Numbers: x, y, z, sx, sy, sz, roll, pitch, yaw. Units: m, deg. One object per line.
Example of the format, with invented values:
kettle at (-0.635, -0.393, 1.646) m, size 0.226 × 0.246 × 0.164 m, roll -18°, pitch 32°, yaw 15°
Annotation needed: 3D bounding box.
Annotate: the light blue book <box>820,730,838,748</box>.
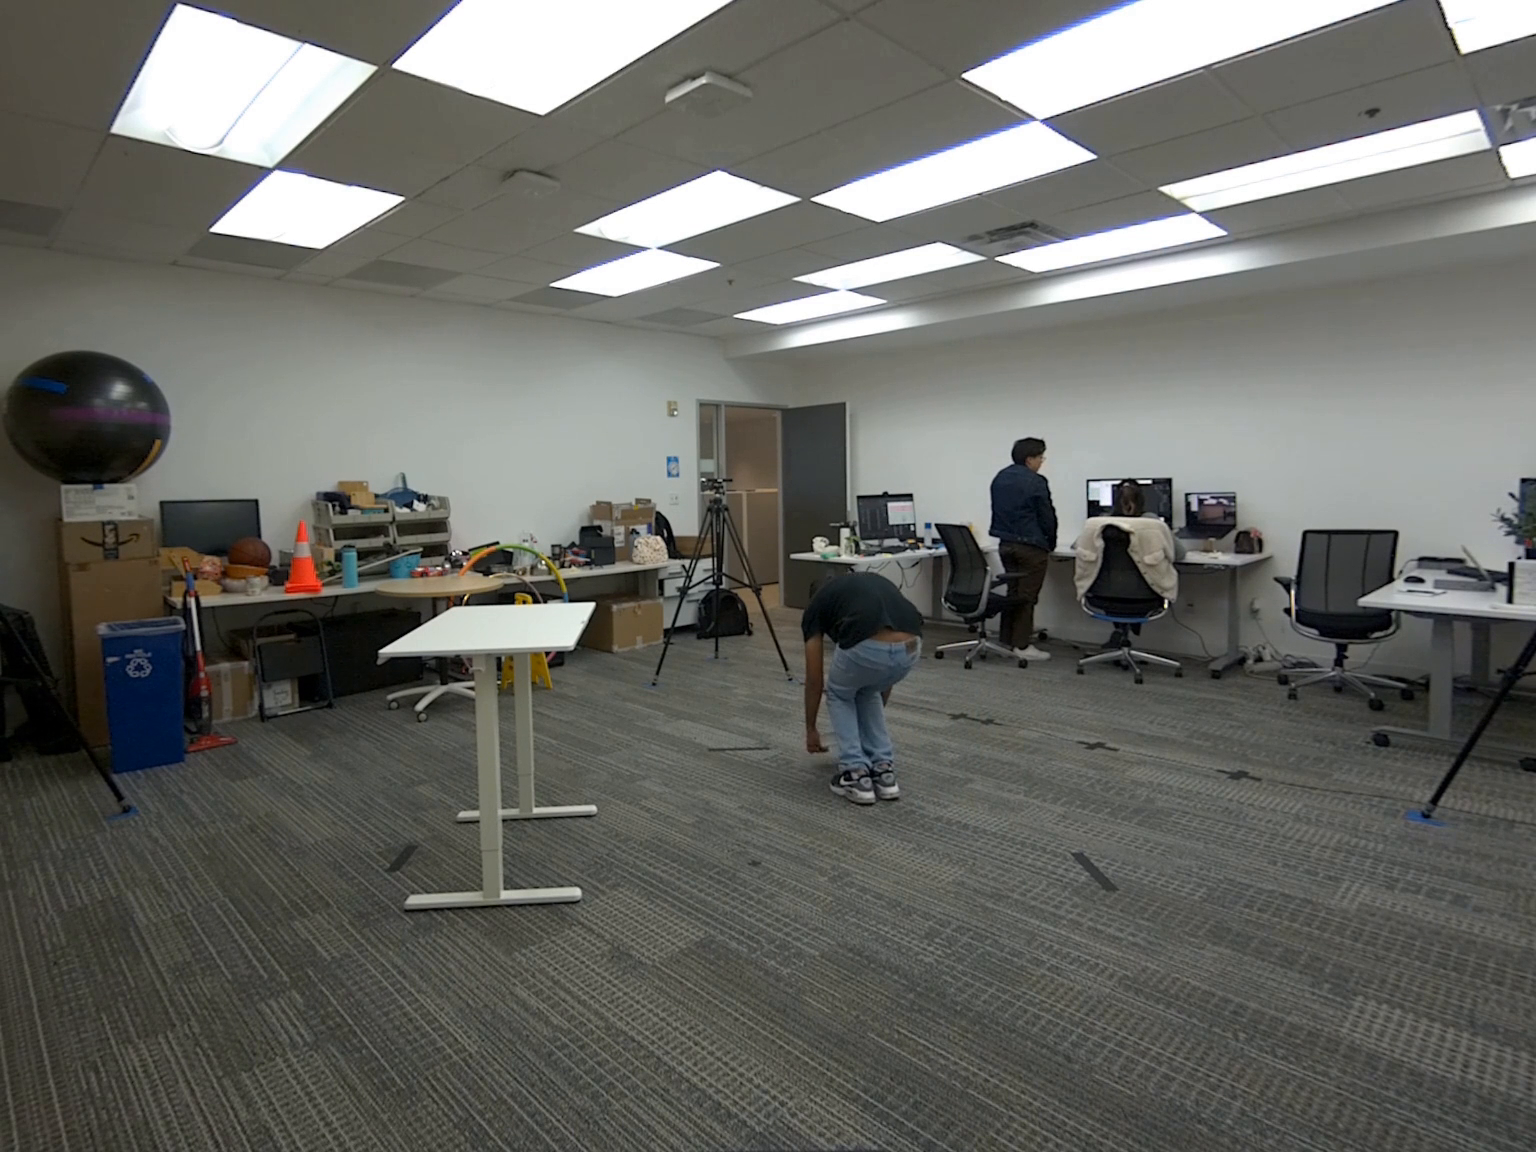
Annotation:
light blue book at (0.338, 0.775, 4.143) m, size 0.258 × 0.060 × 0.190 m, roll -11°, pitch -16°, yaw -14°
